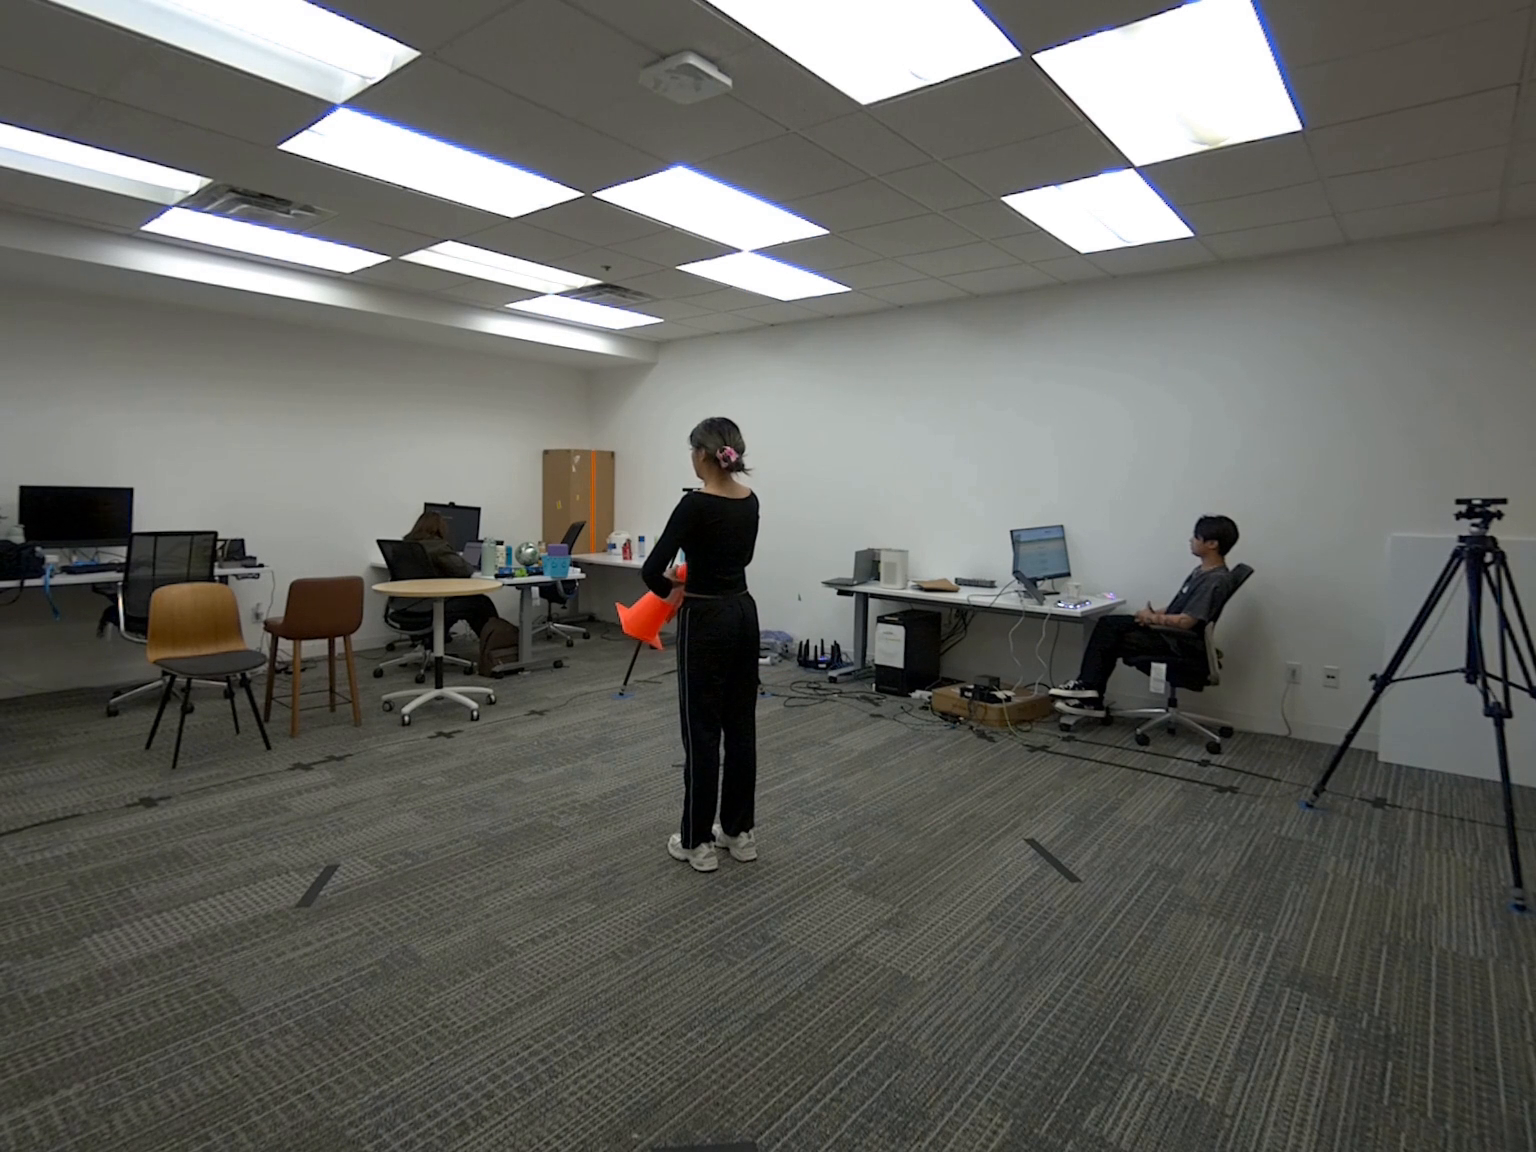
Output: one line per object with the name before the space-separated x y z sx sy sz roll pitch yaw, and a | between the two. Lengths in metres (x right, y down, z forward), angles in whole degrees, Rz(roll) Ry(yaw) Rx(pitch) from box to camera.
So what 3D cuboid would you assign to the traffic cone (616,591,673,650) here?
traffic cone | -0.406 0.067 3.363 0.197 0.383 0.211 32 17 -34
